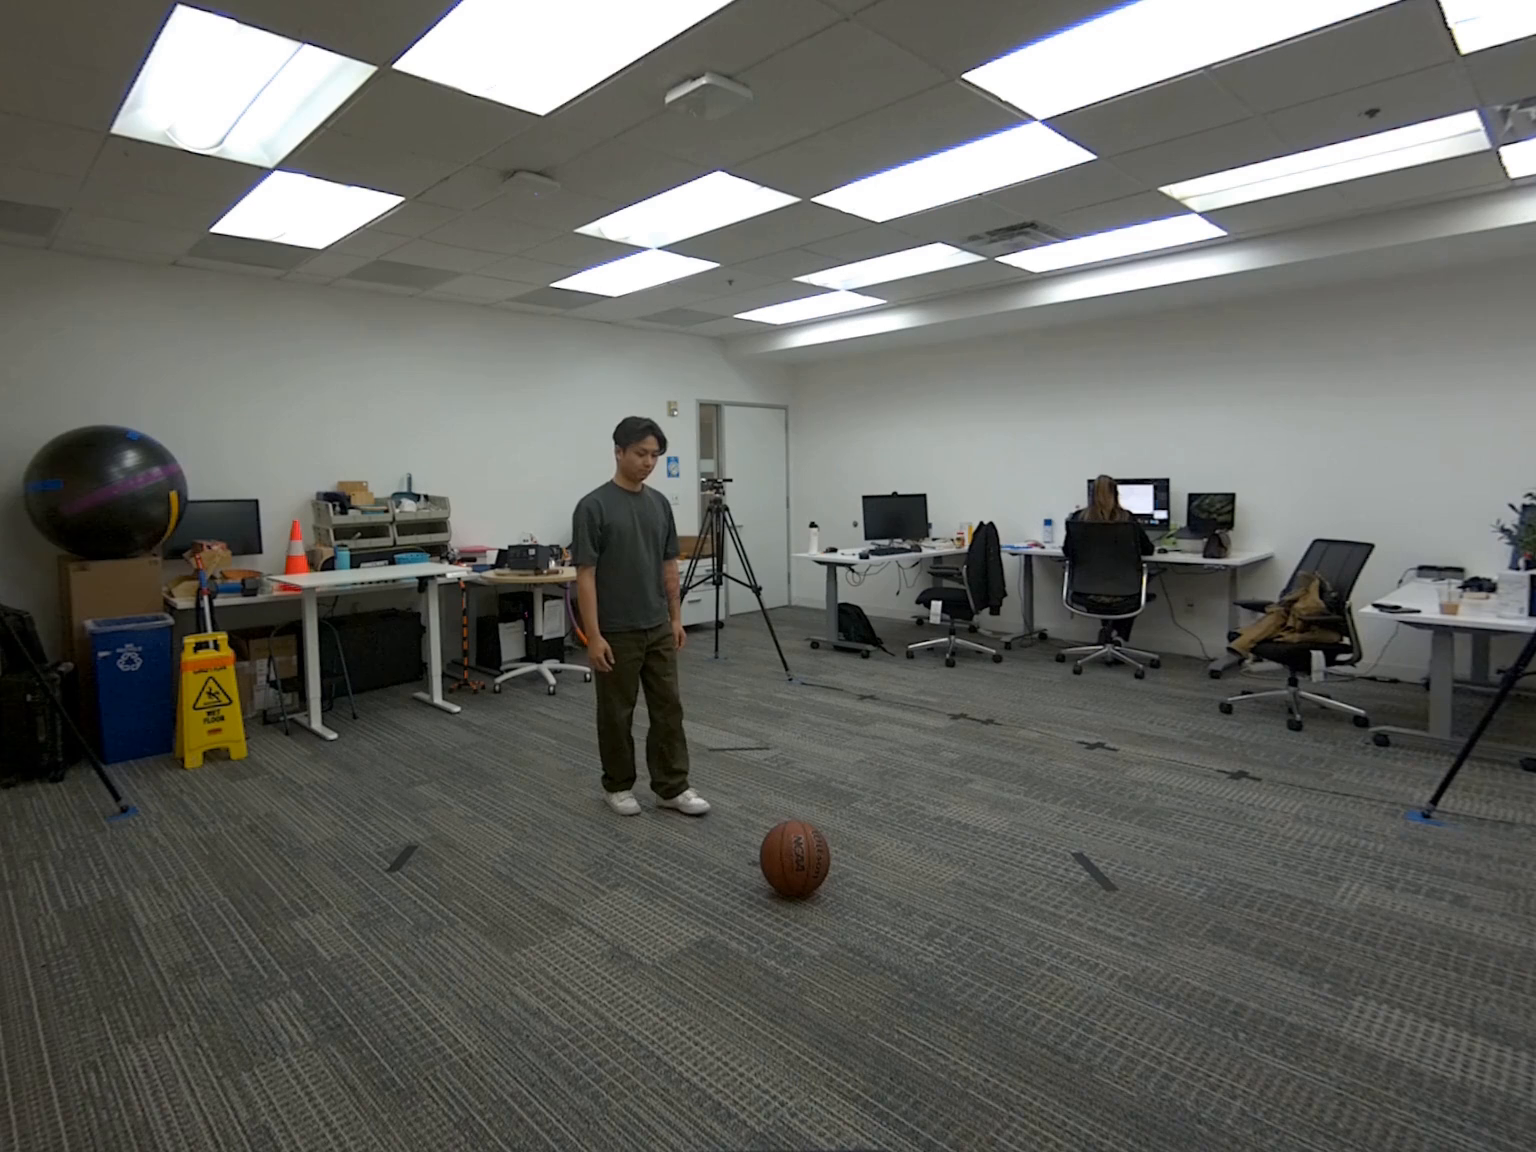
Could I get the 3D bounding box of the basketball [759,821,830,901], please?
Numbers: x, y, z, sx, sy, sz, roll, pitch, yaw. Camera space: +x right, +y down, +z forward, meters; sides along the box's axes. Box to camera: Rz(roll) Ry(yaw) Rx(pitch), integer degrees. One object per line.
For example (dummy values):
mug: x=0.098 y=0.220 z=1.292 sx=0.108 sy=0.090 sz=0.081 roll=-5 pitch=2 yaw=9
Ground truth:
basketball: x=0.092 y=0.942 z=2.876 sx=0.236 sy=0.235 sz=0.237 roll=-1 pitch=5 yaw=-2
